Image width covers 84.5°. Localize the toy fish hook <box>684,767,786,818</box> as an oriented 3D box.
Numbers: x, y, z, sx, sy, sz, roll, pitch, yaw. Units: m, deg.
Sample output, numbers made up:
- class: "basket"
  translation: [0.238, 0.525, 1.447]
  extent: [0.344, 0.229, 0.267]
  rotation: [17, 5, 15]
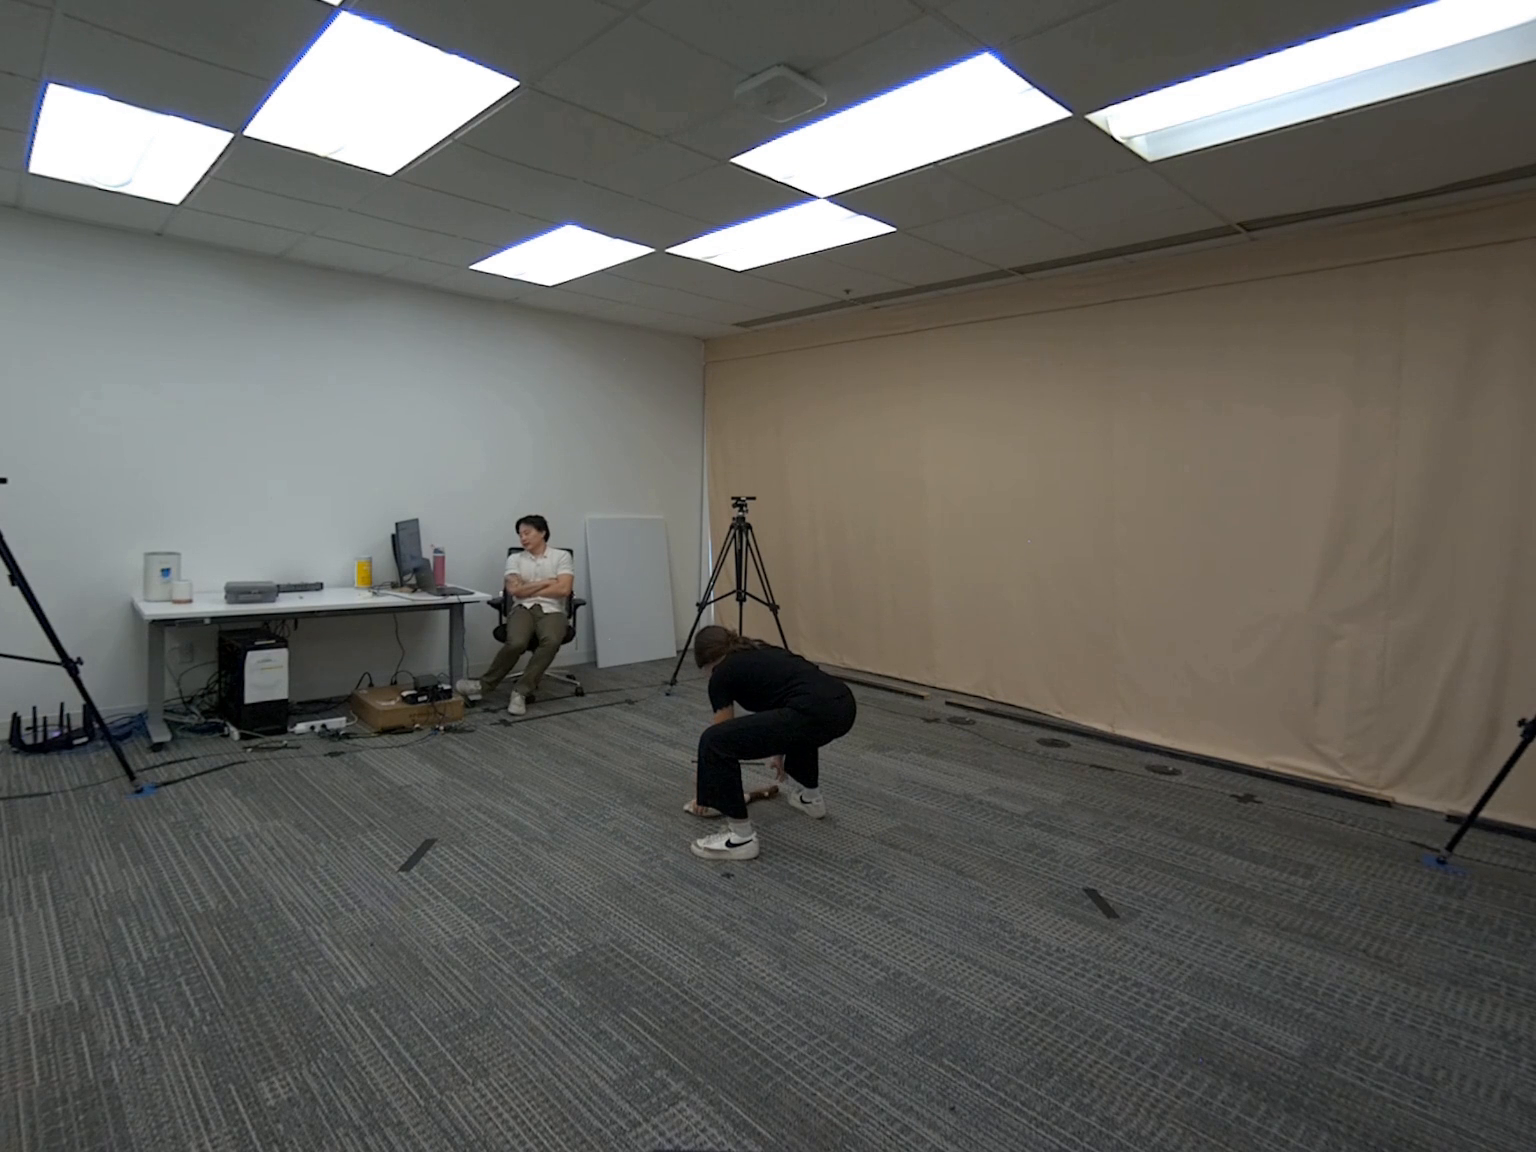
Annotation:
- class: "toy fish hook"
  translation: [-0.176, 1.016, 3.856]
  extent: [0.230, 0.048, 0.495]
  rotation: [9, 8, 44]
